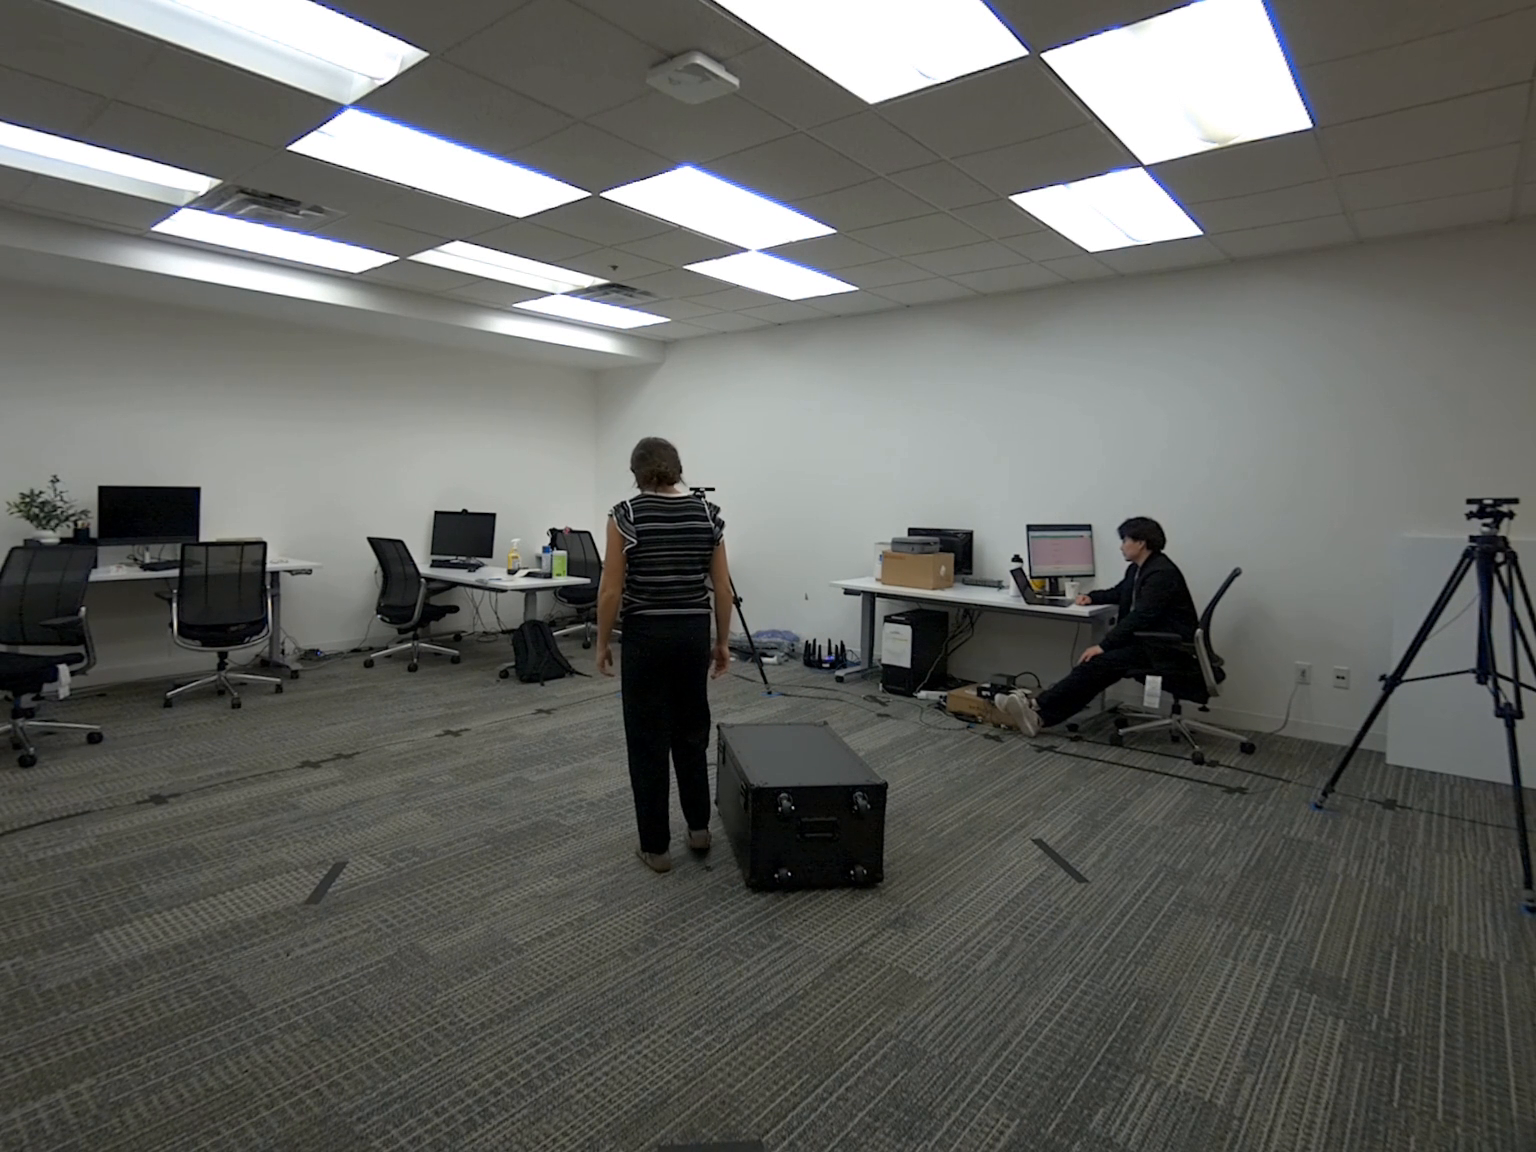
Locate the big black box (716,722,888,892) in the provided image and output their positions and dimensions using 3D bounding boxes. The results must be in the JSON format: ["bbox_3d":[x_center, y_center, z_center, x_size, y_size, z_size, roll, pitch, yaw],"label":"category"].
[{"bbox_3d":[0.089,0.861,3.286,0.515,0.395,0.875,0,5,-12],"label":"big black box"}]
